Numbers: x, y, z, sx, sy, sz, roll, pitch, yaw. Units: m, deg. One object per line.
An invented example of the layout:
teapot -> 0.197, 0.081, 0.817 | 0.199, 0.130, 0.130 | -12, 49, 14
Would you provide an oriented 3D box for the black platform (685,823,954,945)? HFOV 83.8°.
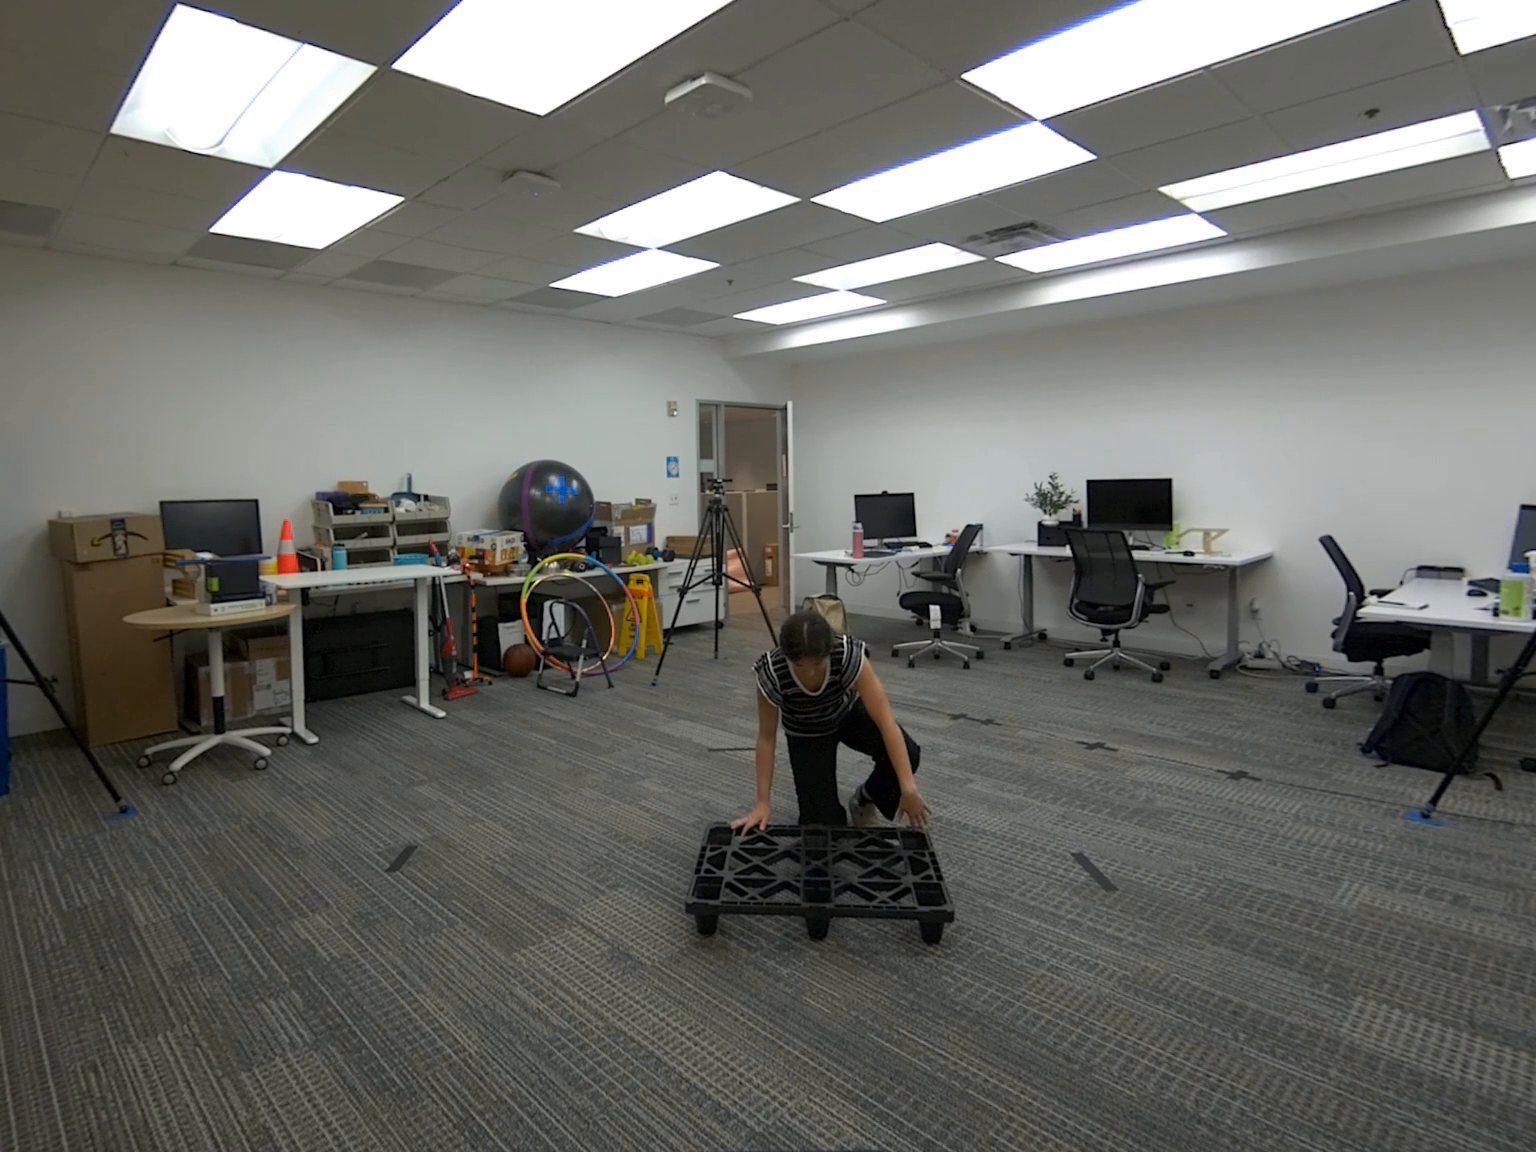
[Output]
black platform -> 0.157, 1.006, 2.821 | 0.810, 0.143, 0.604 | 0, 6, 5
